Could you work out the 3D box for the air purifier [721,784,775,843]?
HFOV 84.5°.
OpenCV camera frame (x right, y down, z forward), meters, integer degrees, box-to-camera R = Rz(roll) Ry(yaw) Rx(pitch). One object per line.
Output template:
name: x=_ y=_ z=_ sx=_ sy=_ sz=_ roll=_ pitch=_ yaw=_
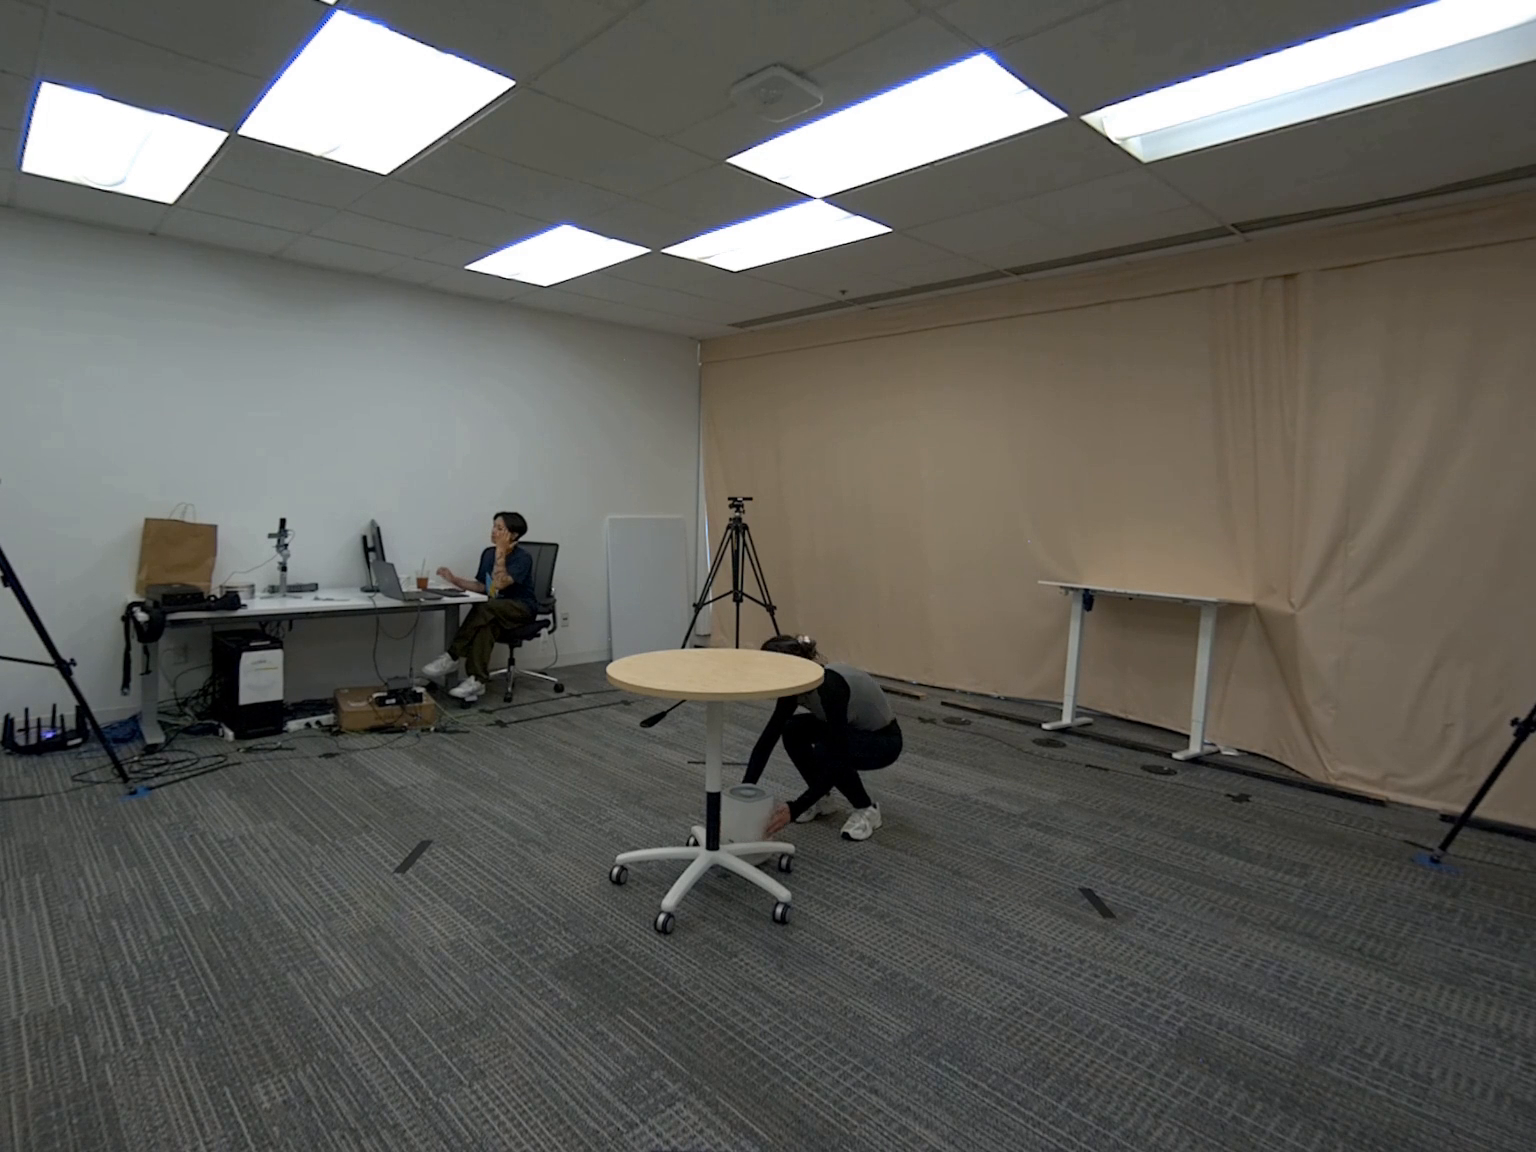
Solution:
air purifier: x=-0.088 y=0.962 z=3.249 sx=0.175 sy=0.265 sz=0.168 roll=4 pitch=5 yaw=40
